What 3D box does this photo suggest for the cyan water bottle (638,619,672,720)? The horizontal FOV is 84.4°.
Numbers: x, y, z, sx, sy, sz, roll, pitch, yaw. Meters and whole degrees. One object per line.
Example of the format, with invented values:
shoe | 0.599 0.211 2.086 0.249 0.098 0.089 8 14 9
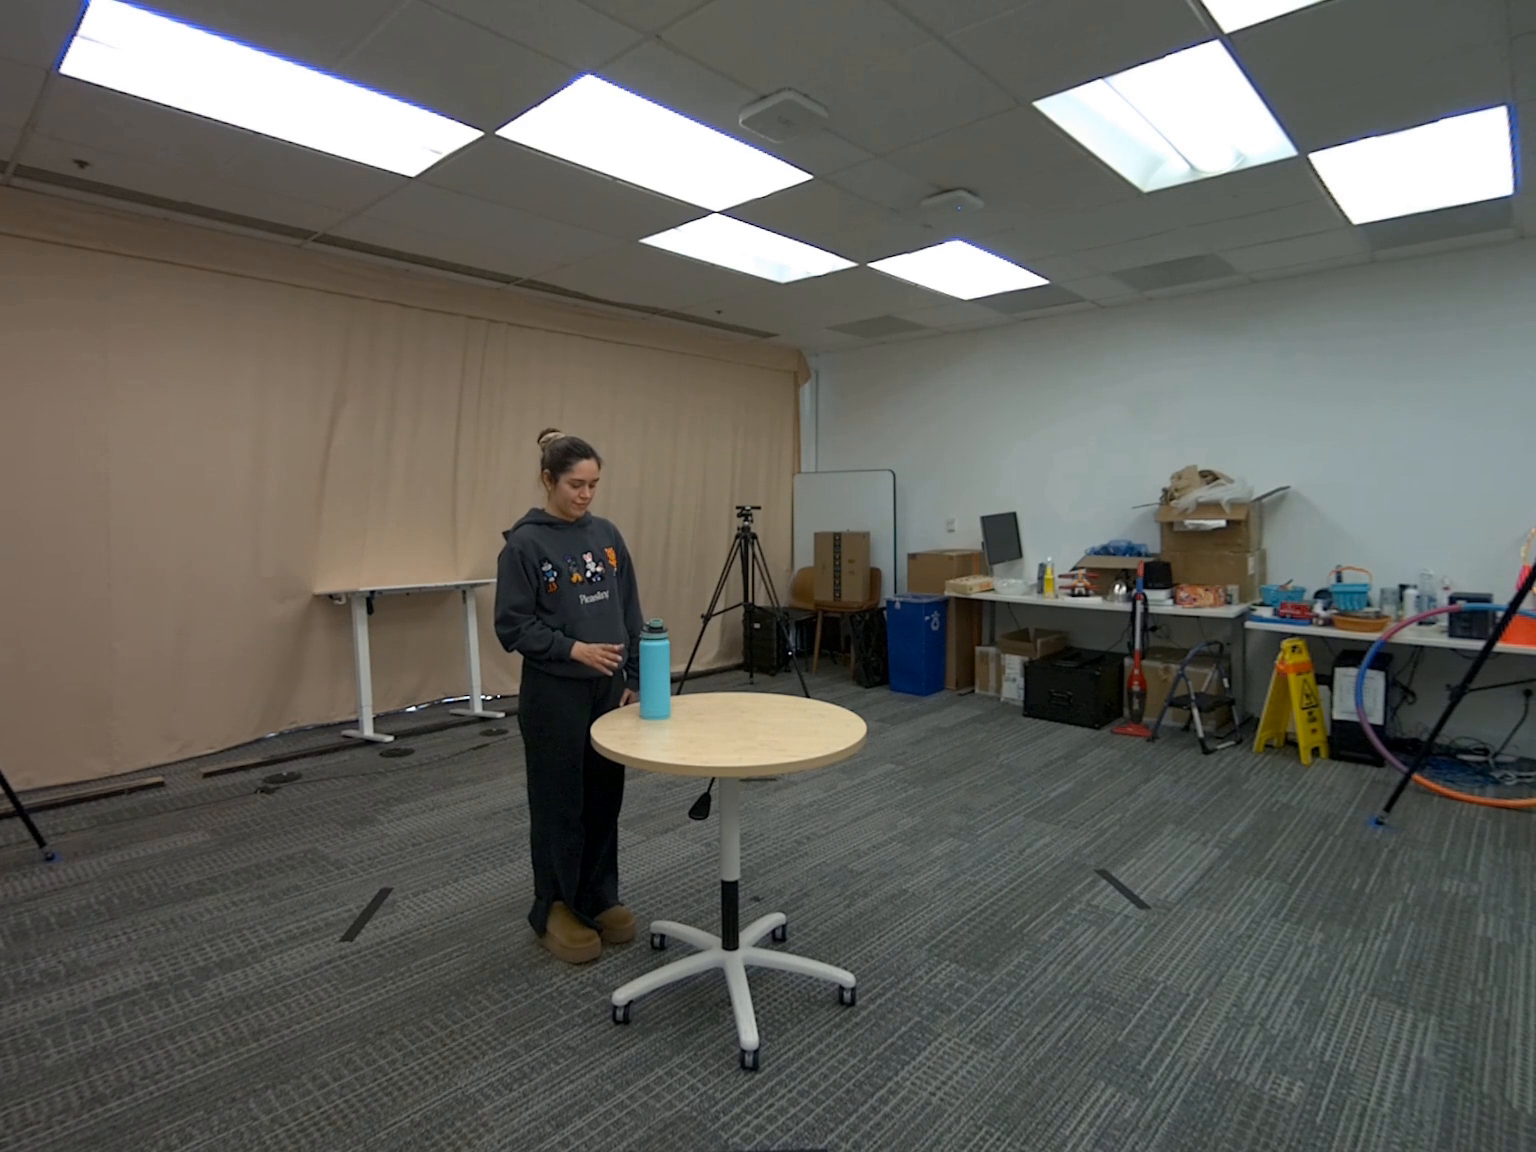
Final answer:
cyan water bottle | -0.322 0.275 2.443 0.092 0.283 0.092 -2 3 -2
